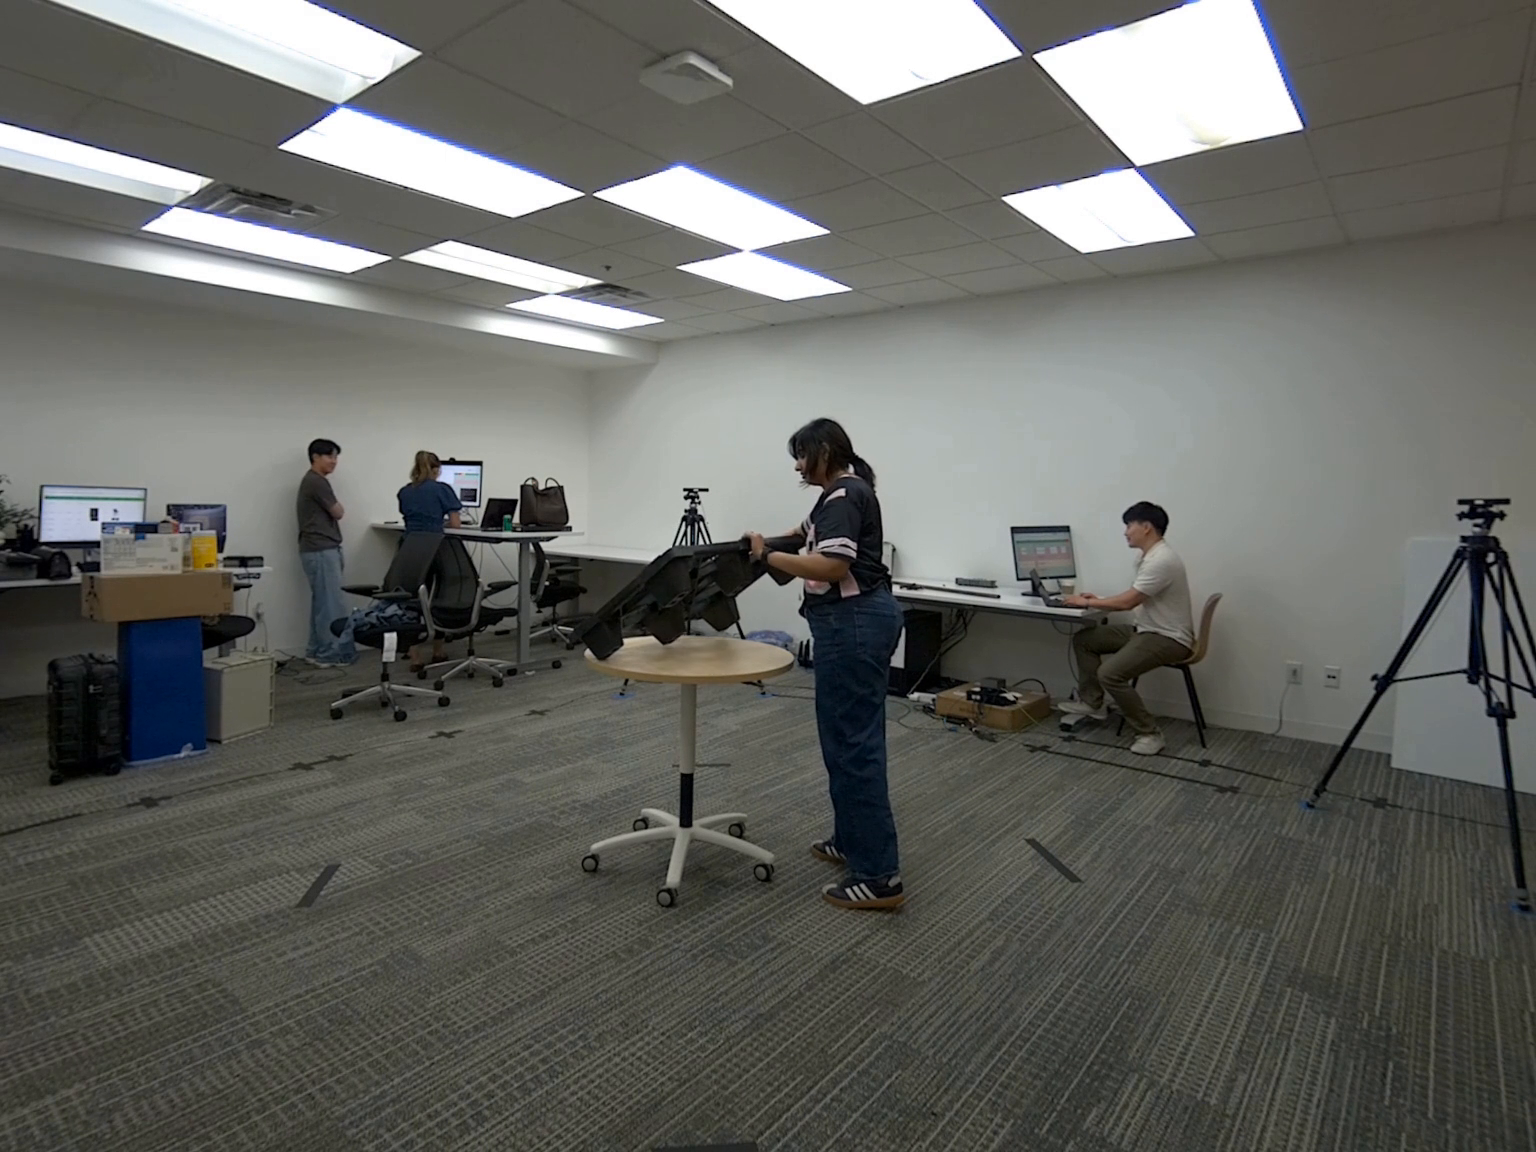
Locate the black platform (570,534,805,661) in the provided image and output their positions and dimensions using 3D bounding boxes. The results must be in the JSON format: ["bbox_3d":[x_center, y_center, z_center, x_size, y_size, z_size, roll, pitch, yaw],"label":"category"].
[{"bbox_3d":[-0.264,0.076,3.131,0.609,0.146,0.784,-37,-15,33],"label":"black platform"}]
